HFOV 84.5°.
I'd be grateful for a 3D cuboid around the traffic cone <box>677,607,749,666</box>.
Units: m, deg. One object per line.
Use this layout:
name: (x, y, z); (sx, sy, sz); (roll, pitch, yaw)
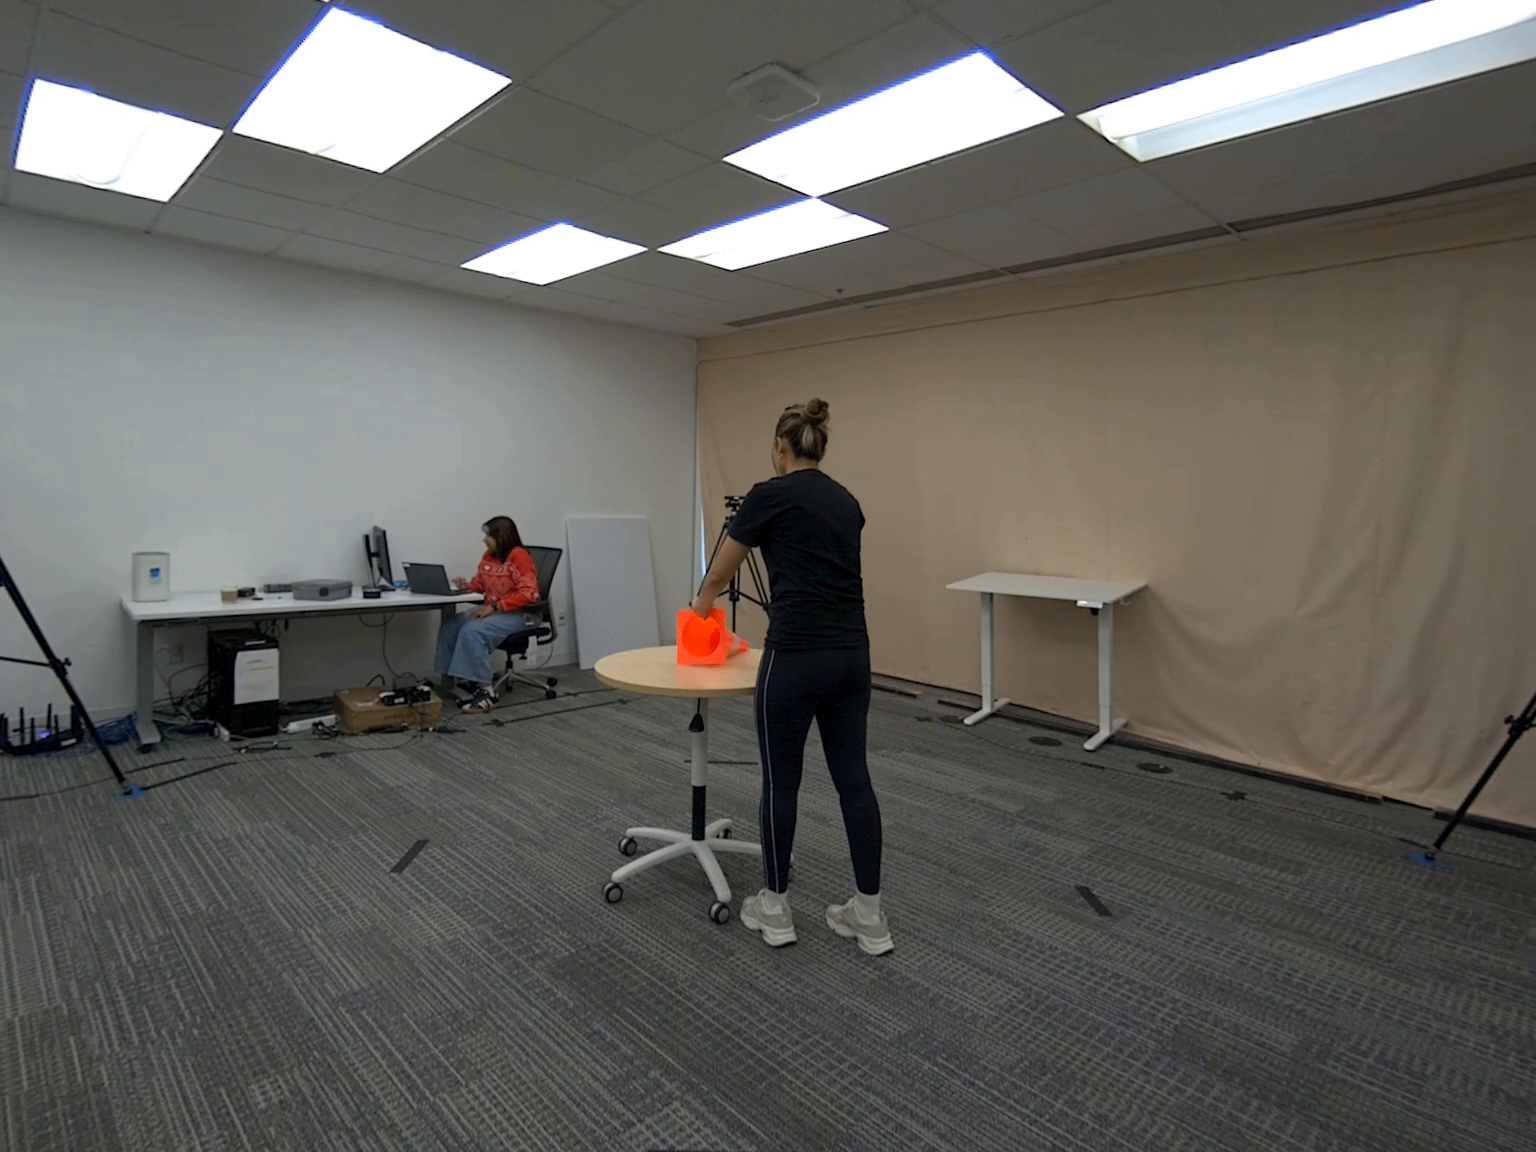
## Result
traffic cone: (-0.174, 0.245, 3.190); (0.208, 0.205, 0.374); (-7, -12, 22)
